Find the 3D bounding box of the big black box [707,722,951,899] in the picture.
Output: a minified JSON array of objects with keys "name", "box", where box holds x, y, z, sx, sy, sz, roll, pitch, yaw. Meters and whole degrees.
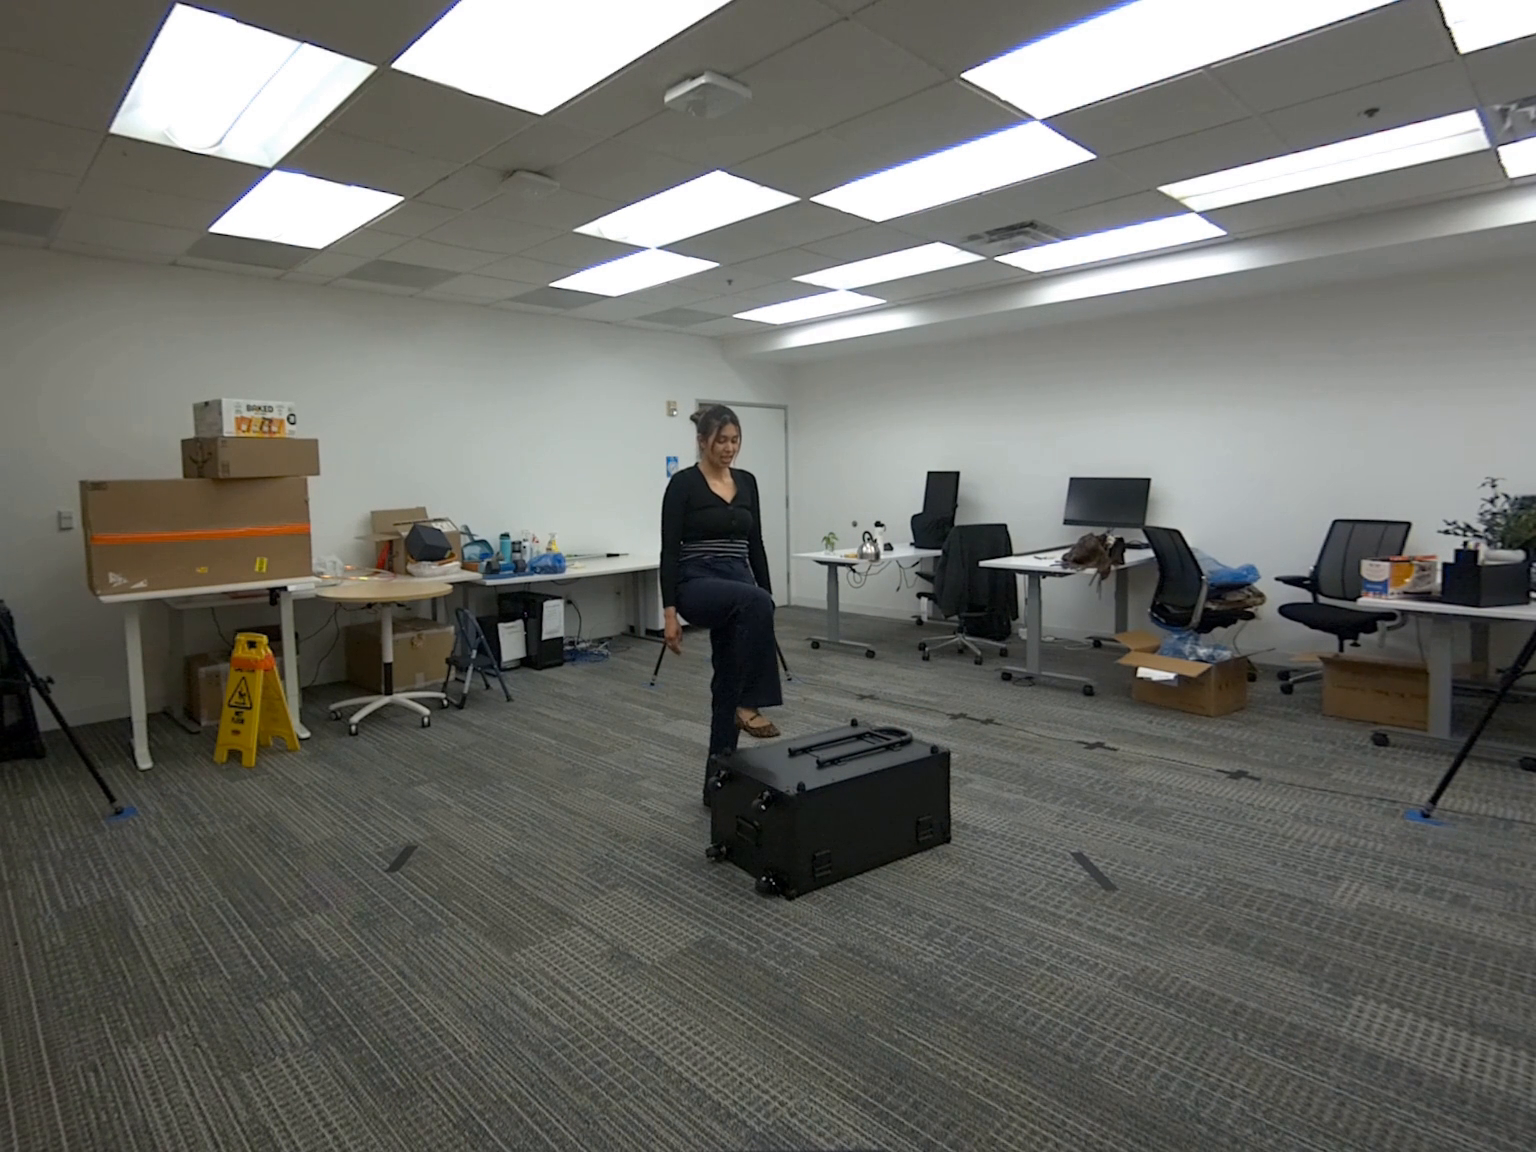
[{"name":"big black box","box":[0.264,0.850,3.237,0.840,0.394,0.537,-5,7,-35]}]
